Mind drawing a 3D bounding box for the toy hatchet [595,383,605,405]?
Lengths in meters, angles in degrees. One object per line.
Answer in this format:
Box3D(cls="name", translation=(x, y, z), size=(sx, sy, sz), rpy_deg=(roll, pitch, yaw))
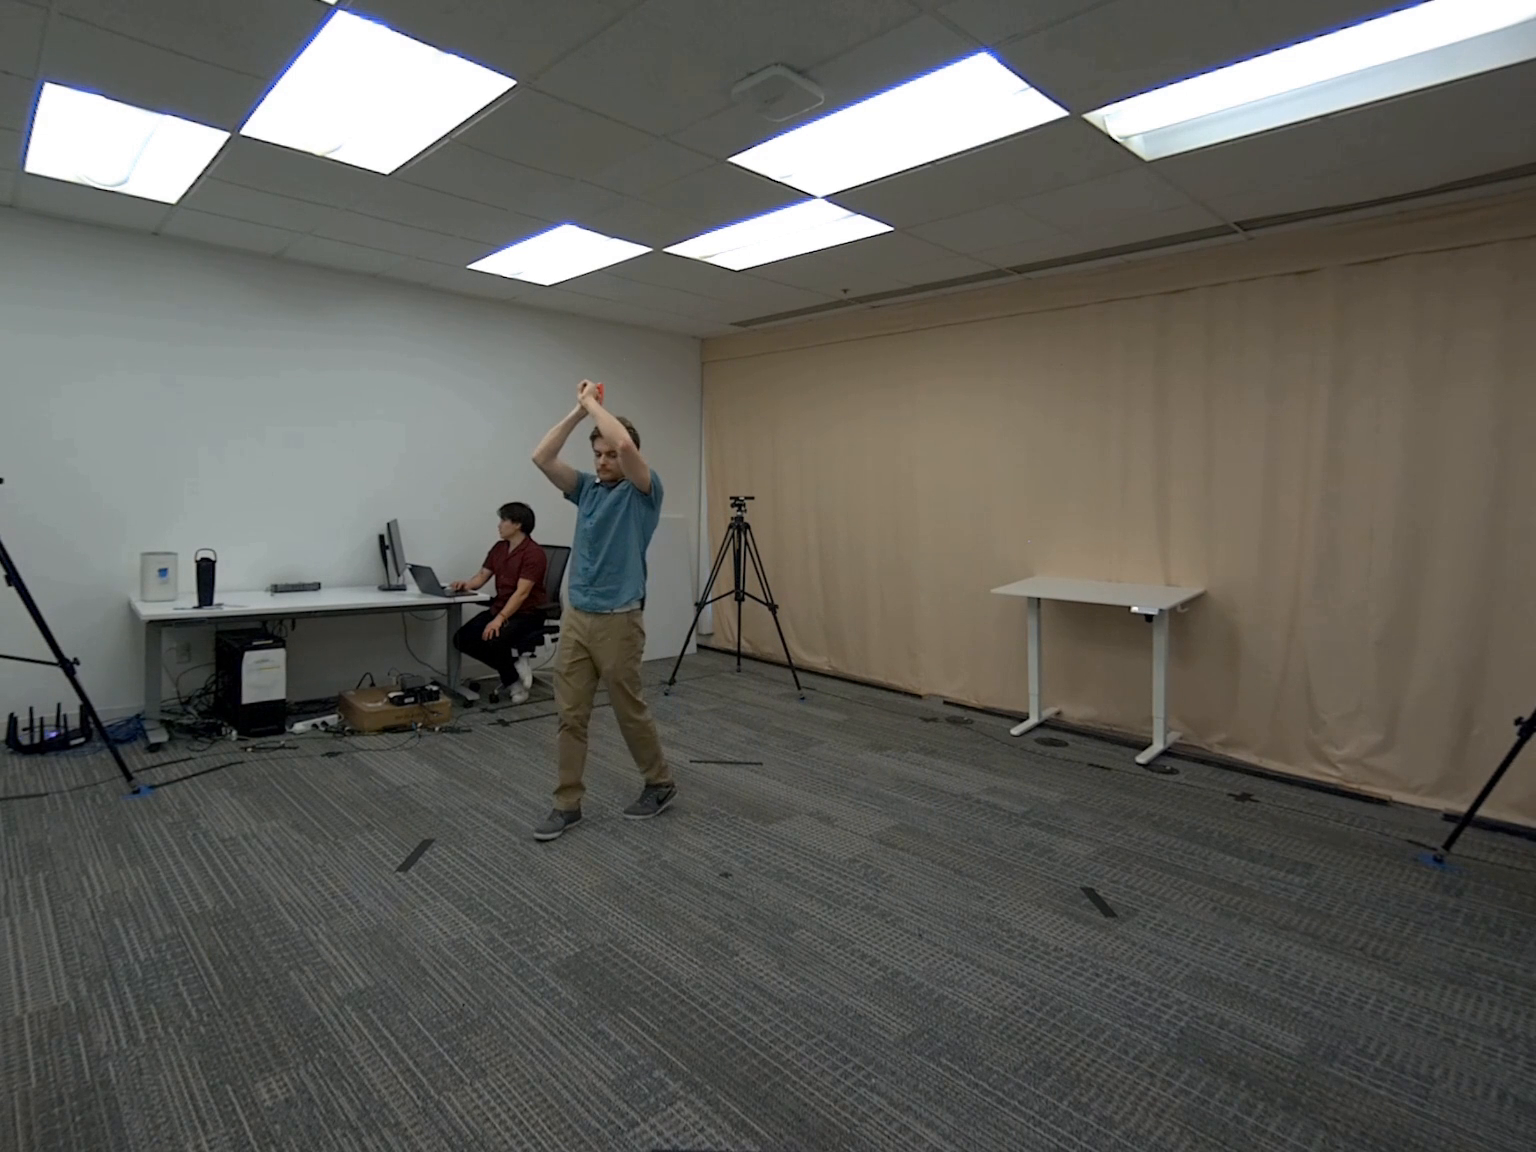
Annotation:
Box3D(cls="toy hatchet", translation=(-0.734, -0.777, 3.485), size=(0.030, 0.132, 0.267), rpy_deg=(11, -9, 4))
